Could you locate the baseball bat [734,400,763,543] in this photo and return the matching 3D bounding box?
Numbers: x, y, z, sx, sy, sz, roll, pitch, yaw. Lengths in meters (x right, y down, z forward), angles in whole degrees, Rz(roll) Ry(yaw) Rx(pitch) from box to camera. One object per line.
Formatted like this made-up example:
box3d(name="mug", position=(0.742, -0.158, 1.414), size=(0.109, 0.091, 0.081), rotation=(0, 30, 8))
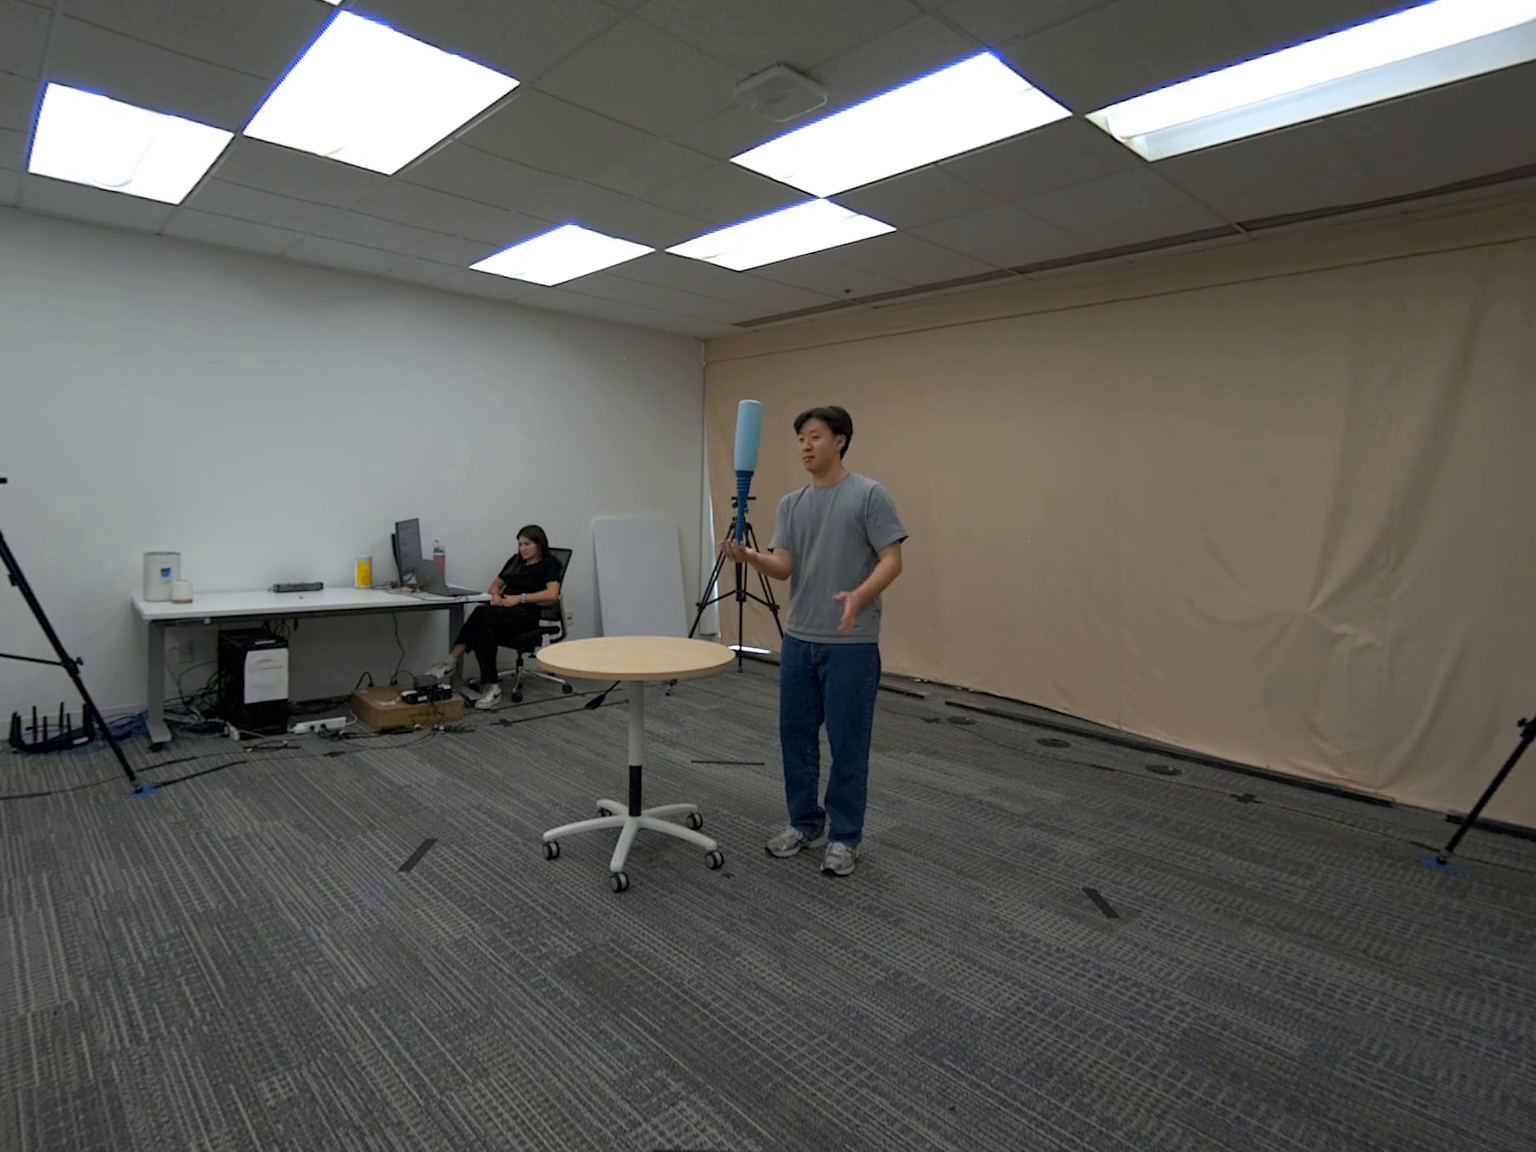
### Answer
box3d(name="baseball bat", position=(-0.084, -0.347, 2.985), size=(0.089, 0.543, 0.089), rotation=(4, -2, -1))
